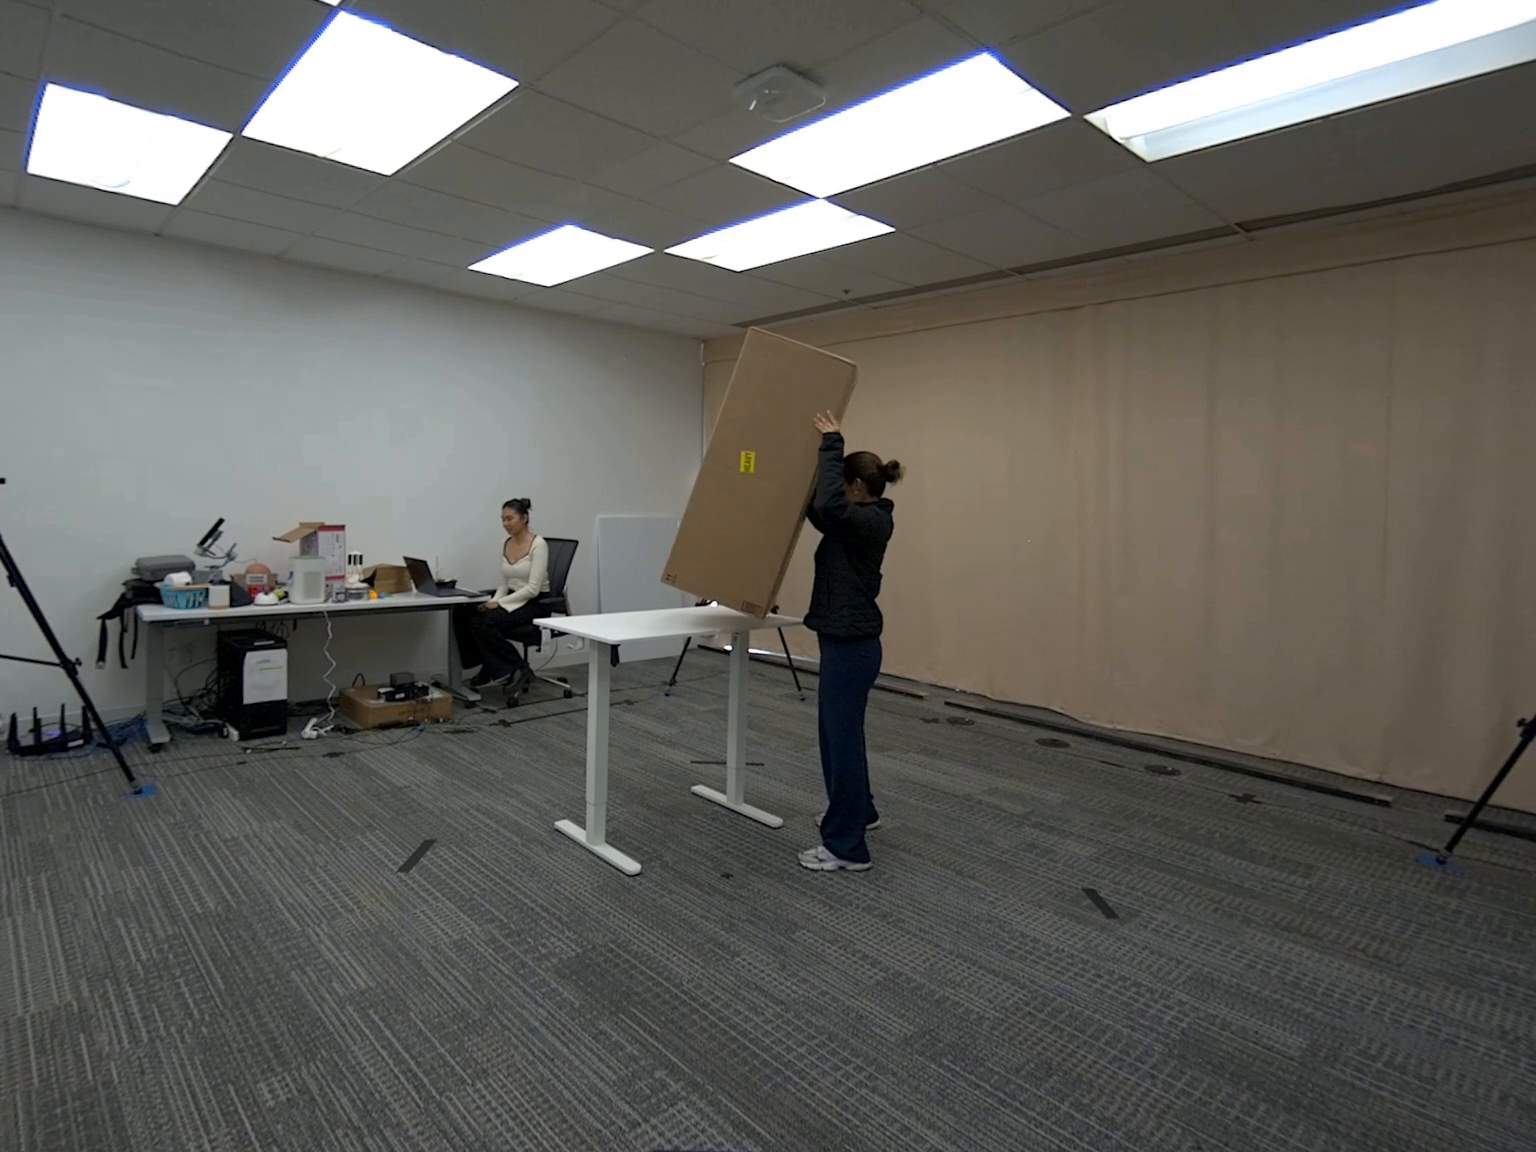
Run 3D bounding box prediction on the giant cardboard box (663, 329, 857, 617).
[{"bbox_3d":[-0.028,-0.402,3.427,0.450,1.024,0.581,20,5,5],"label":"giant cardboard box"}]
